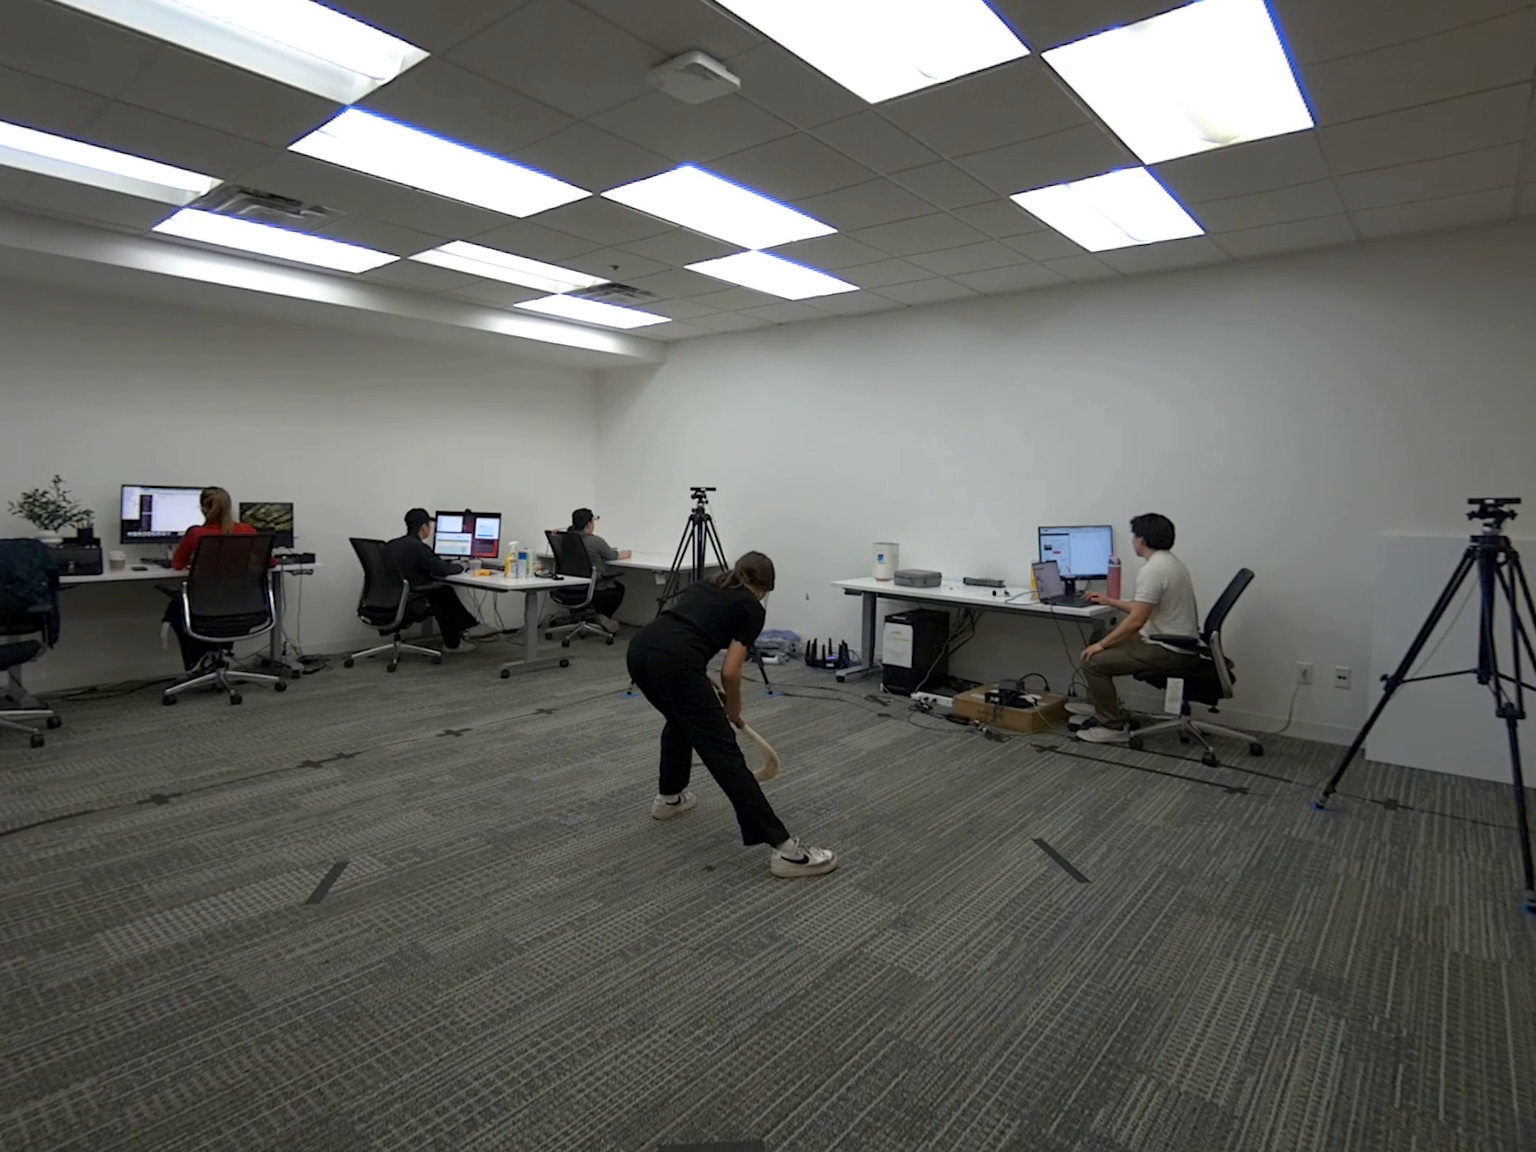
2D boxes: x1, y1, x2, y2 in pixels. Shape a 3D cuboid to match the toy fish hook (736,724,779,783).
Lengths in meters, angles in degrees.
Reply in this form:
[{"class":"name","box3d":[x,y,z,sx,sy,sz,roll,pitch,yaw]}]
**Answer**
[{"class":"toy fish hook","box3d":[-0.144,0.708,3.728,0.225,0.495,0.049,-24,17,7]}]
